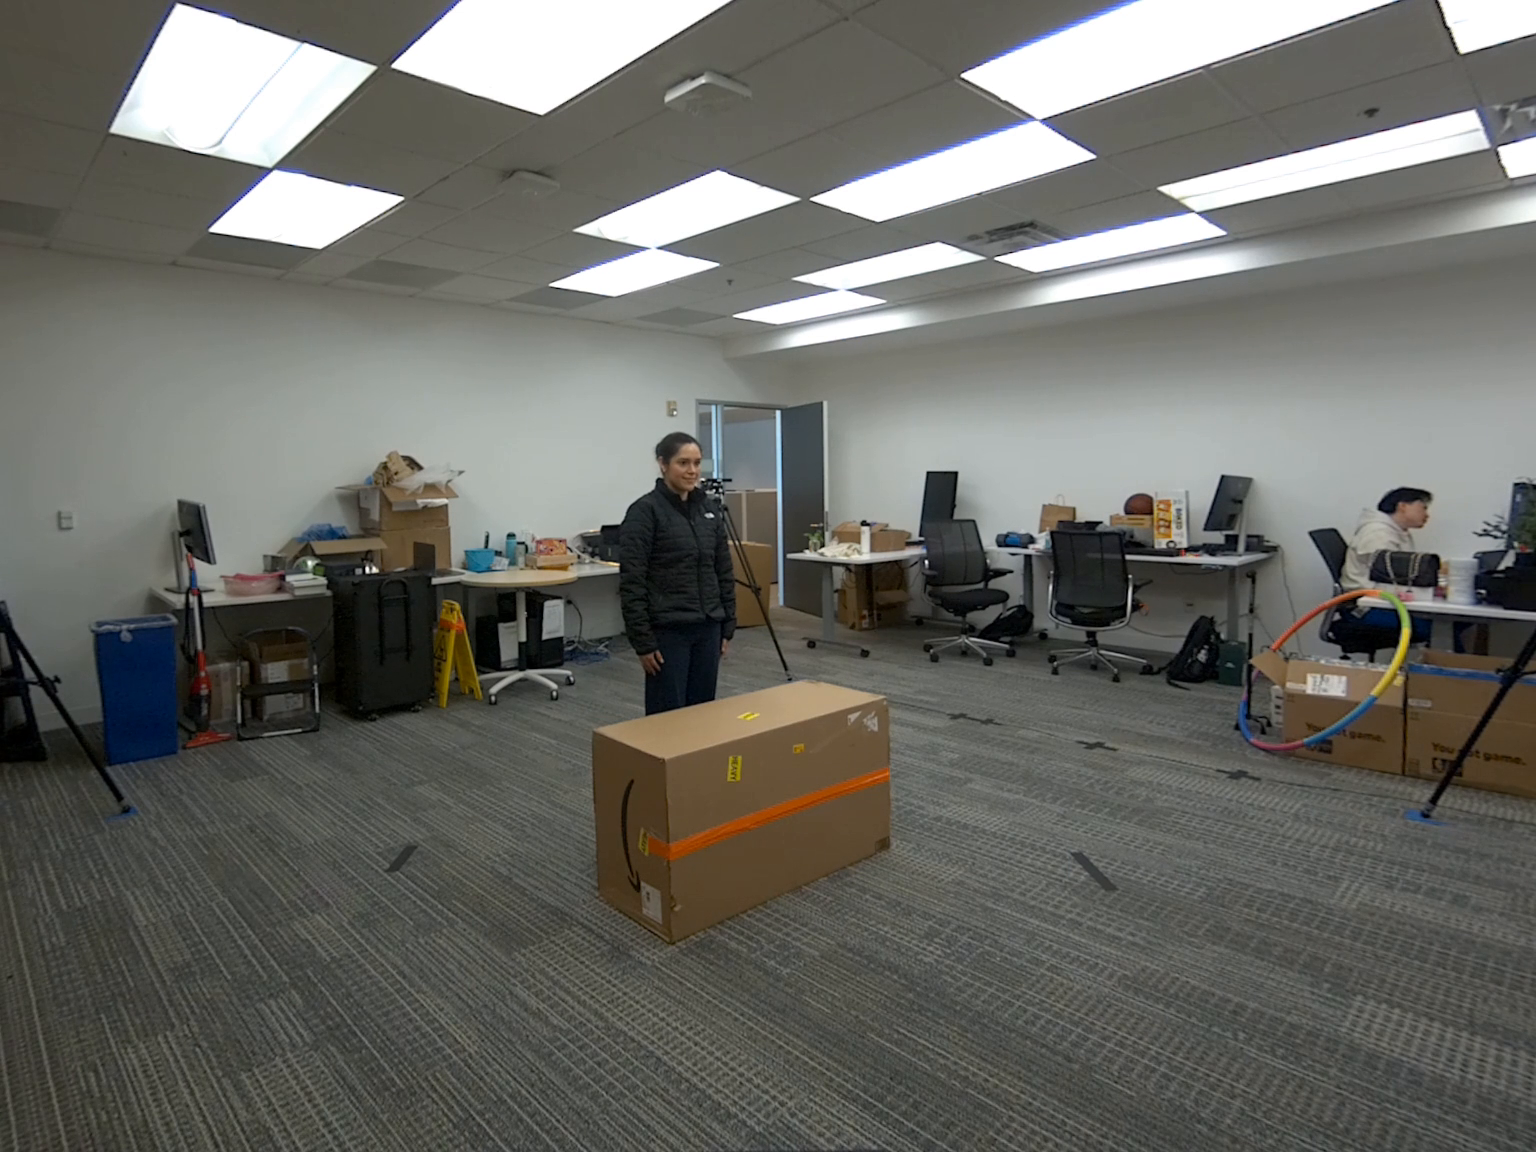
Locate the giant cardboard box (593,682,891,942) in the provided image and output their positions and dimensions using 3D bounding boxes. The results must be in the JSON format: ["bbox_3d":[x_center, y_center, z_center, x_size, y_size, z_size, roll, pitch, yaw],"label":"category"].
[{"bbox_3d":[-0.065,0.767,3.037,1.000,0.581,0.461,-6,8,-41],"label":"giant cardboard box"}]
